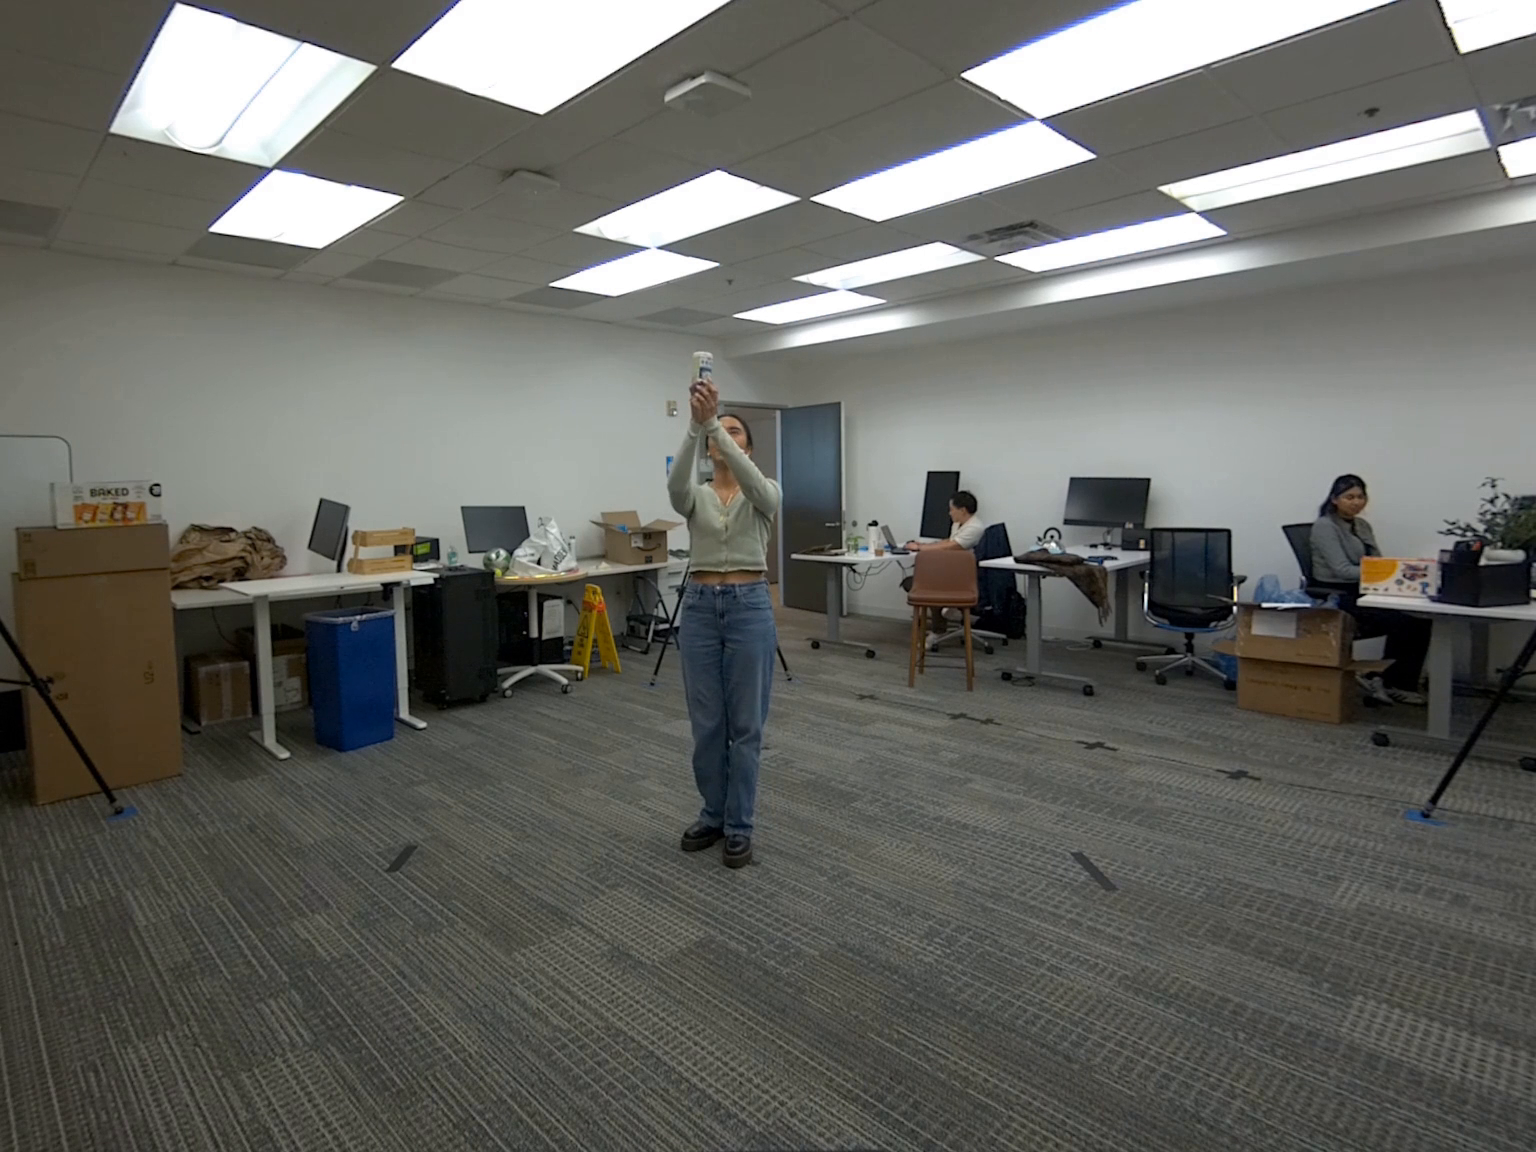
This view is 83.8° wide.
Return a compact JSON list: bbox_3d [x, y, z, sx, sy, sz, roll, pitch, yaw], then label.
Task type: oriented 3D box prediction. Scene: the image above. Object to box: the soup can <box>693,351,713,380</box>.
[{"bbox_3d":[-0.224,-0.690,2.898,0.067,0.121,0.067,3,-1,-2],"label":"soup can"}]
